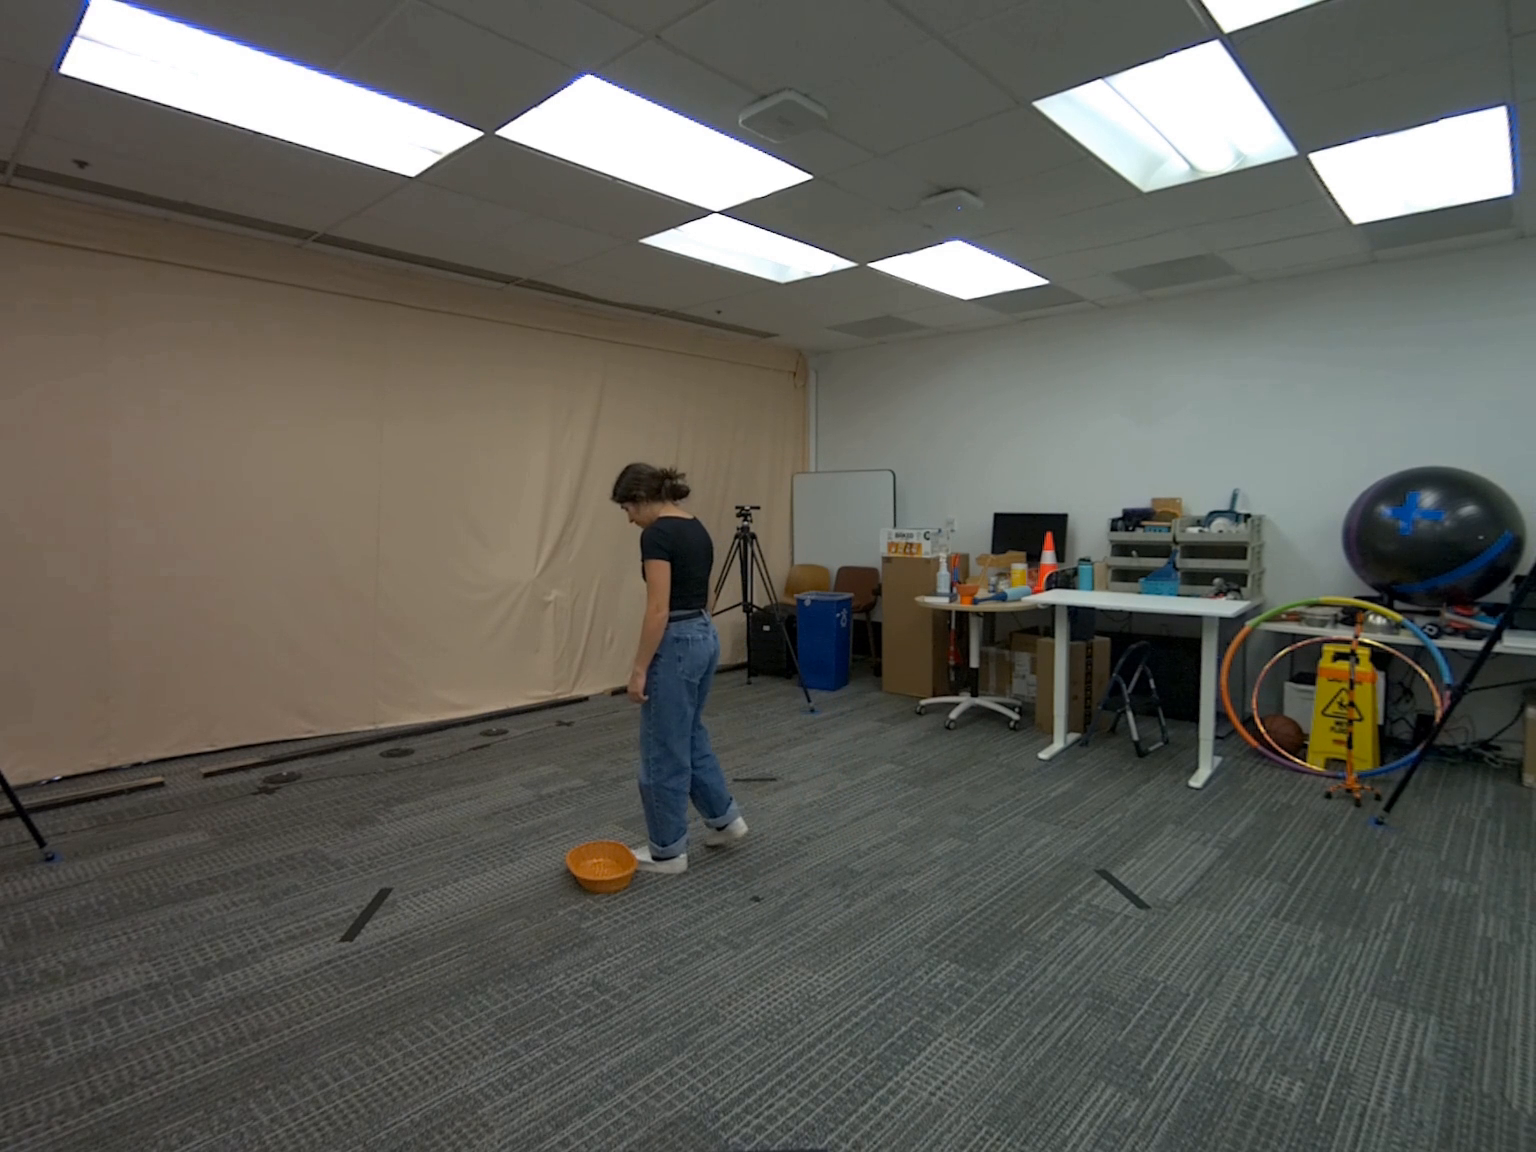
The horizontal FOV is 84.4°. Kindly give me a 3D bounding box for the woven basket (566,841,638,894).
[{"bbox_3d":[-0.629,1.095,3.165,0.247,0.073,0.360,-5,6,-25],"label":"woven basket"}]
